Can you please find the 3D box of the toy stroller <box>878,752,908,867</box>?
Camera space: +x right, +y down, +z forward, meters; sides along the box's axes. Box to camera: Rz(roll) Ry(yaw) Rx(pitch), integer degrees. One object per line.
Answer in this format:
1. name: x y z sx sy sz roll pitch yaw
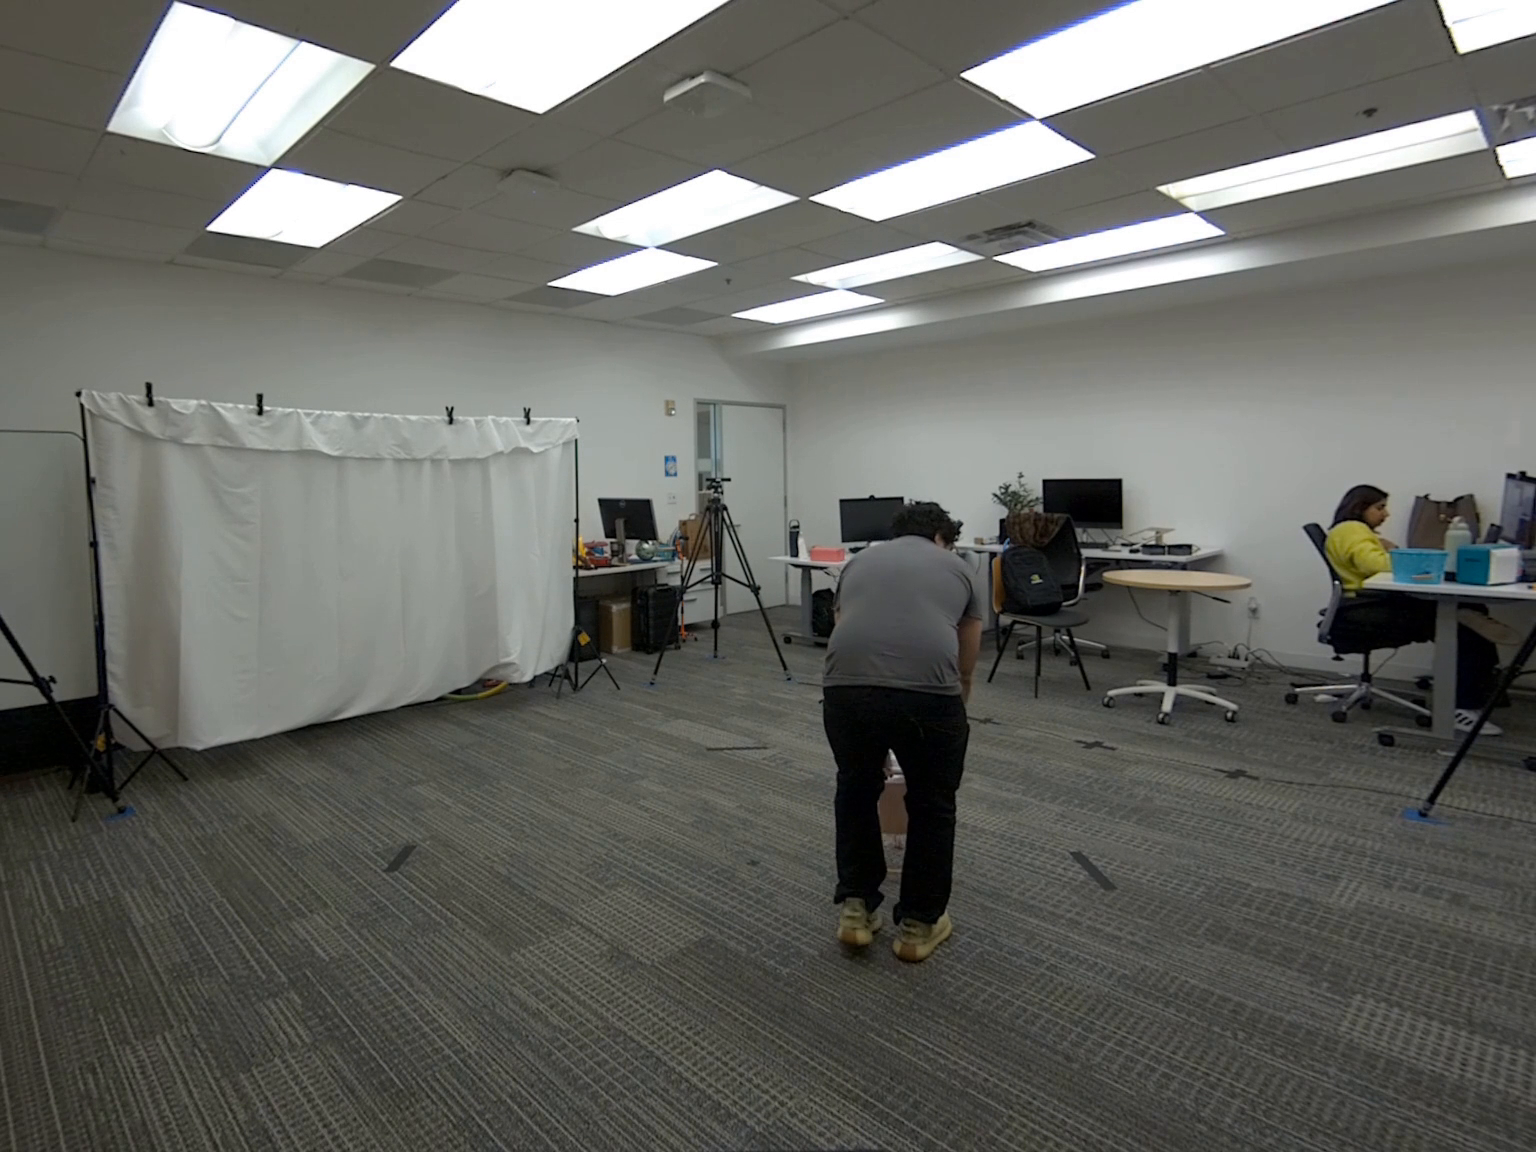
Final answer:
1. toy stroller: 0.486 0.822 3.025 0.284 0.526 0.344 0 19 8
